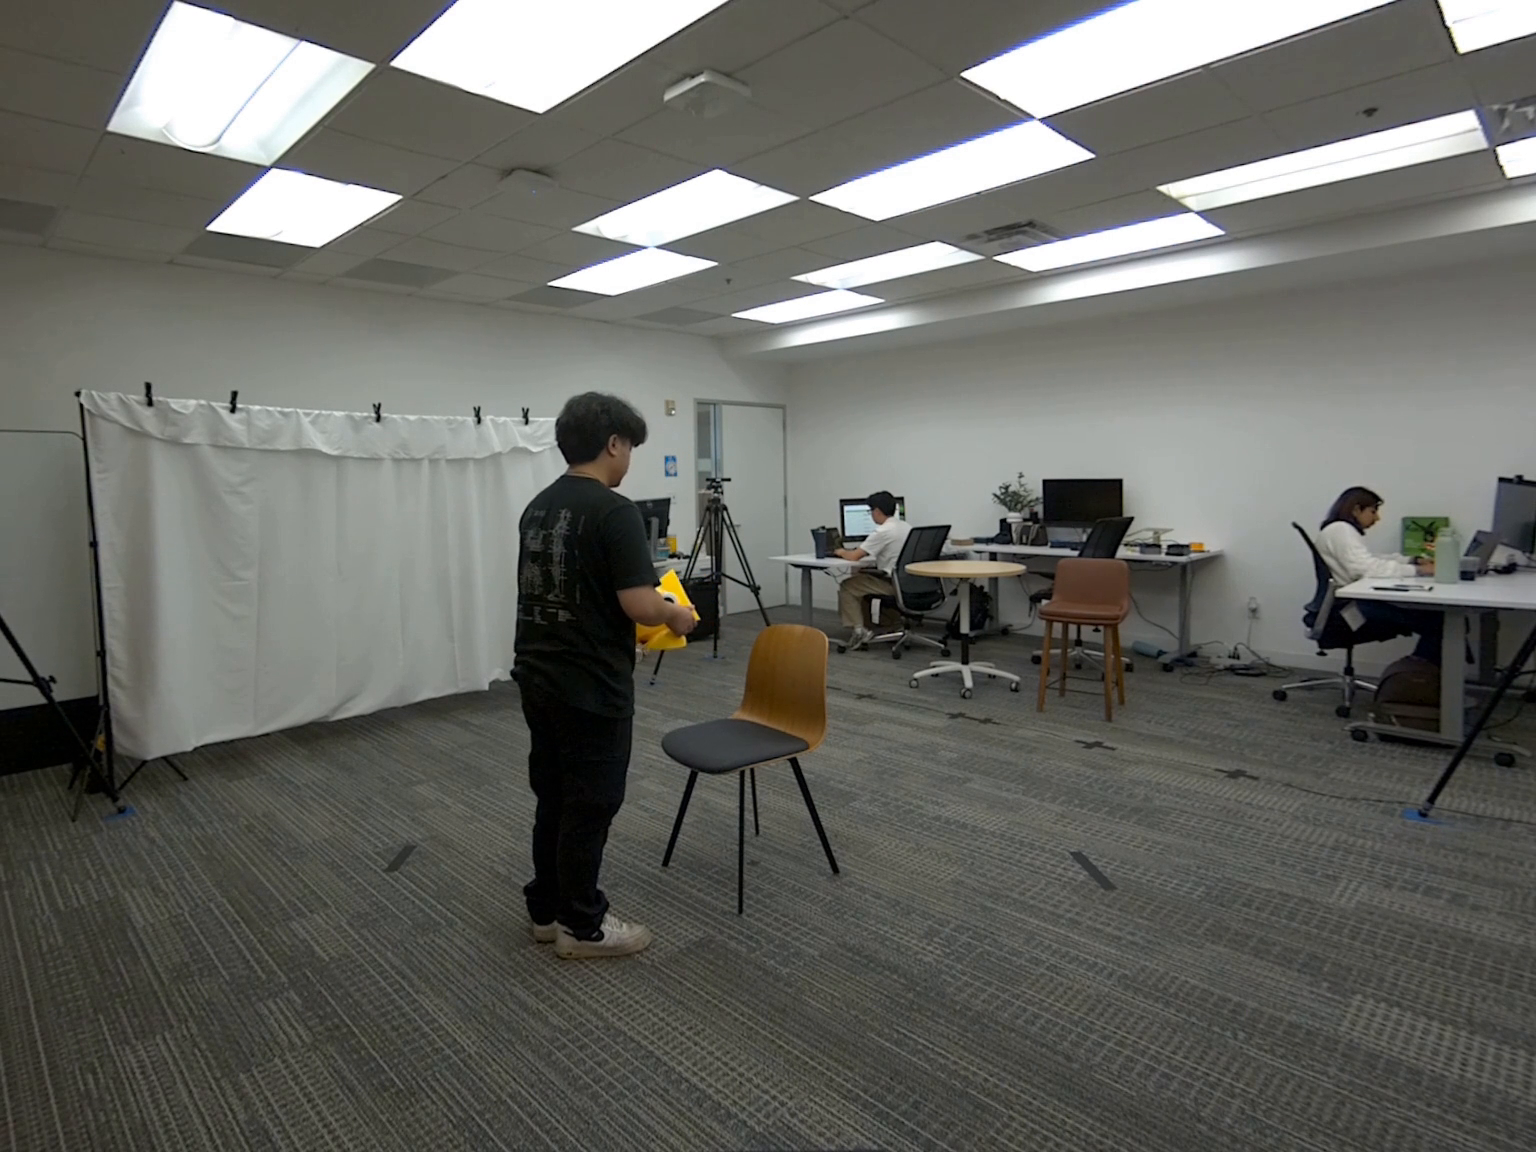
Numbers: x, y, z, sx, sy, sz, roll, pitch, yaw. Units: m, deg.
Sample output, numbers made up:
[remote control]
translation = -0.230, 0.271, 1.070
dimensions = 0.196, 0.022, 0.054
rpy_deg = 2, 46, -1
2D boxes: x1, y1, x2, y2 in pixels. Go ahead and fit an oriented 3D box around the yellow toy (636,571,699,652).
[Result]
[yellow toy]
translation = -0.354, 0.099, 2.712
dimensions = 0.188, 0.230, 0.211
rpy_deg = -5, 6, -43
